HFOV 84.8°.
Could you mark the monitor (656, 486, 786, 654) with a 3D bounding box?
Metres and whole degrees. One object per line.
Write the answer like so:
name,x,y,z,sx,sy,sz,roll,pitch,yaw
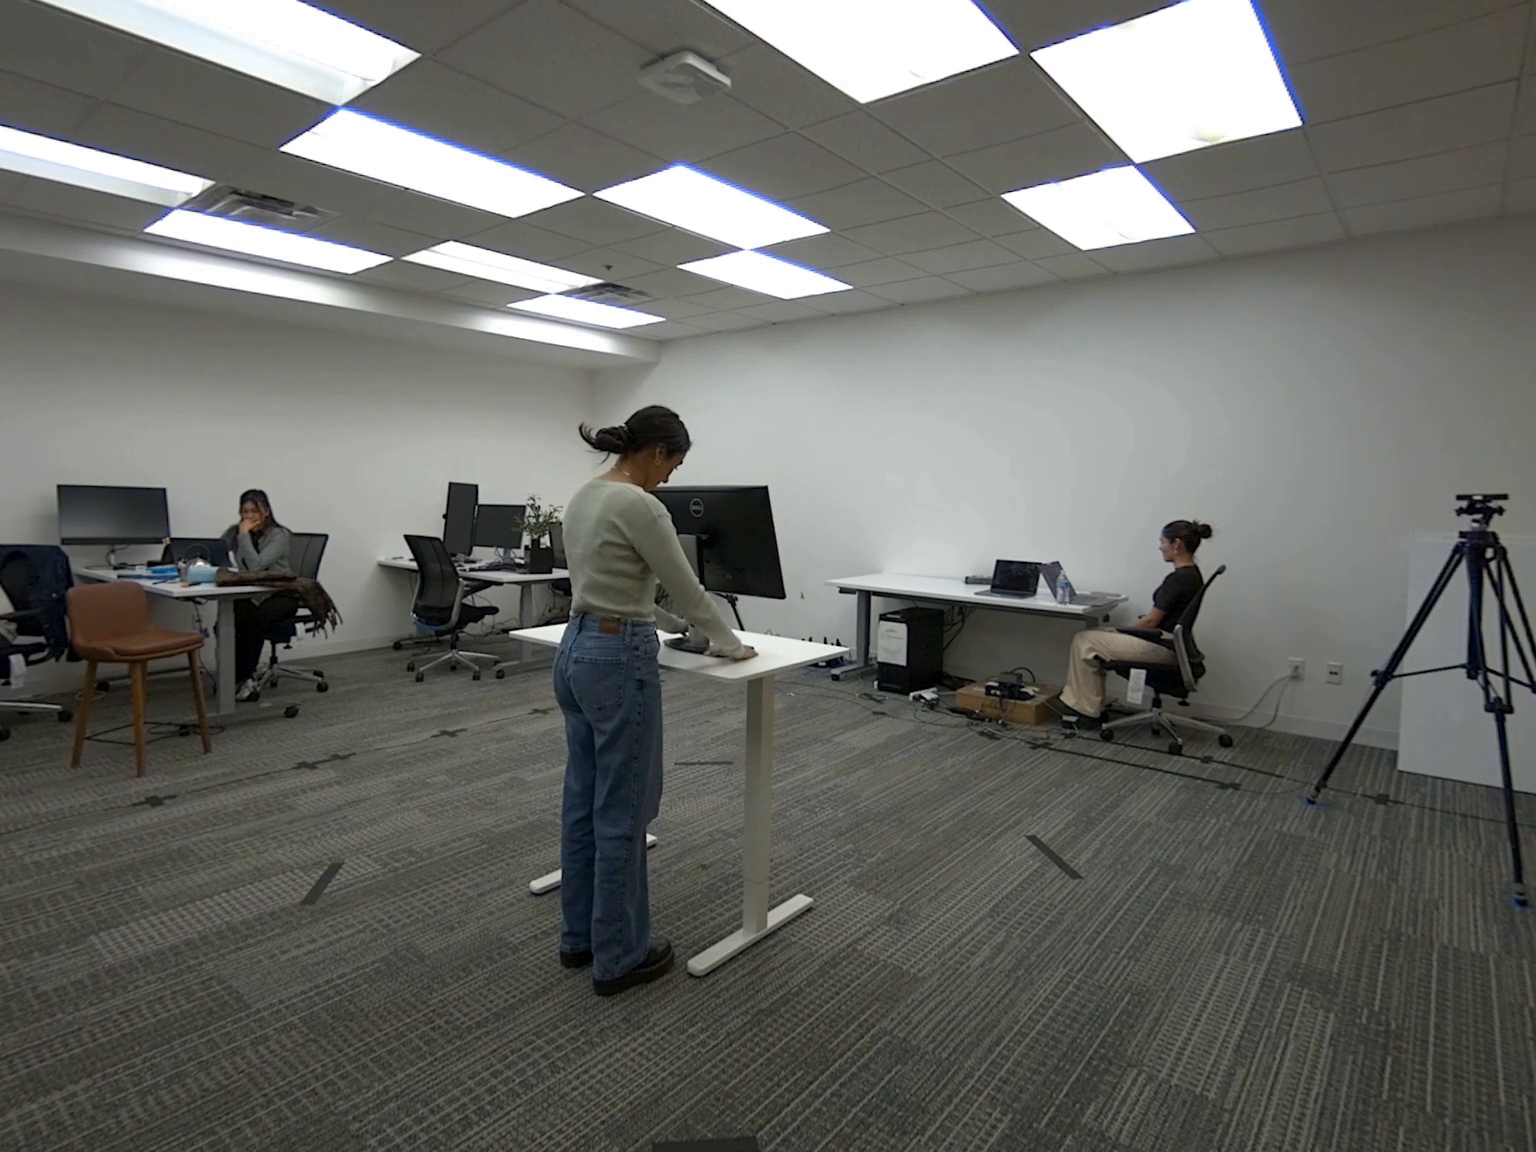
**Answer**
monitor,-0.207,-0.030,2.671,0.547,0.517,0.169,2,-1,40
